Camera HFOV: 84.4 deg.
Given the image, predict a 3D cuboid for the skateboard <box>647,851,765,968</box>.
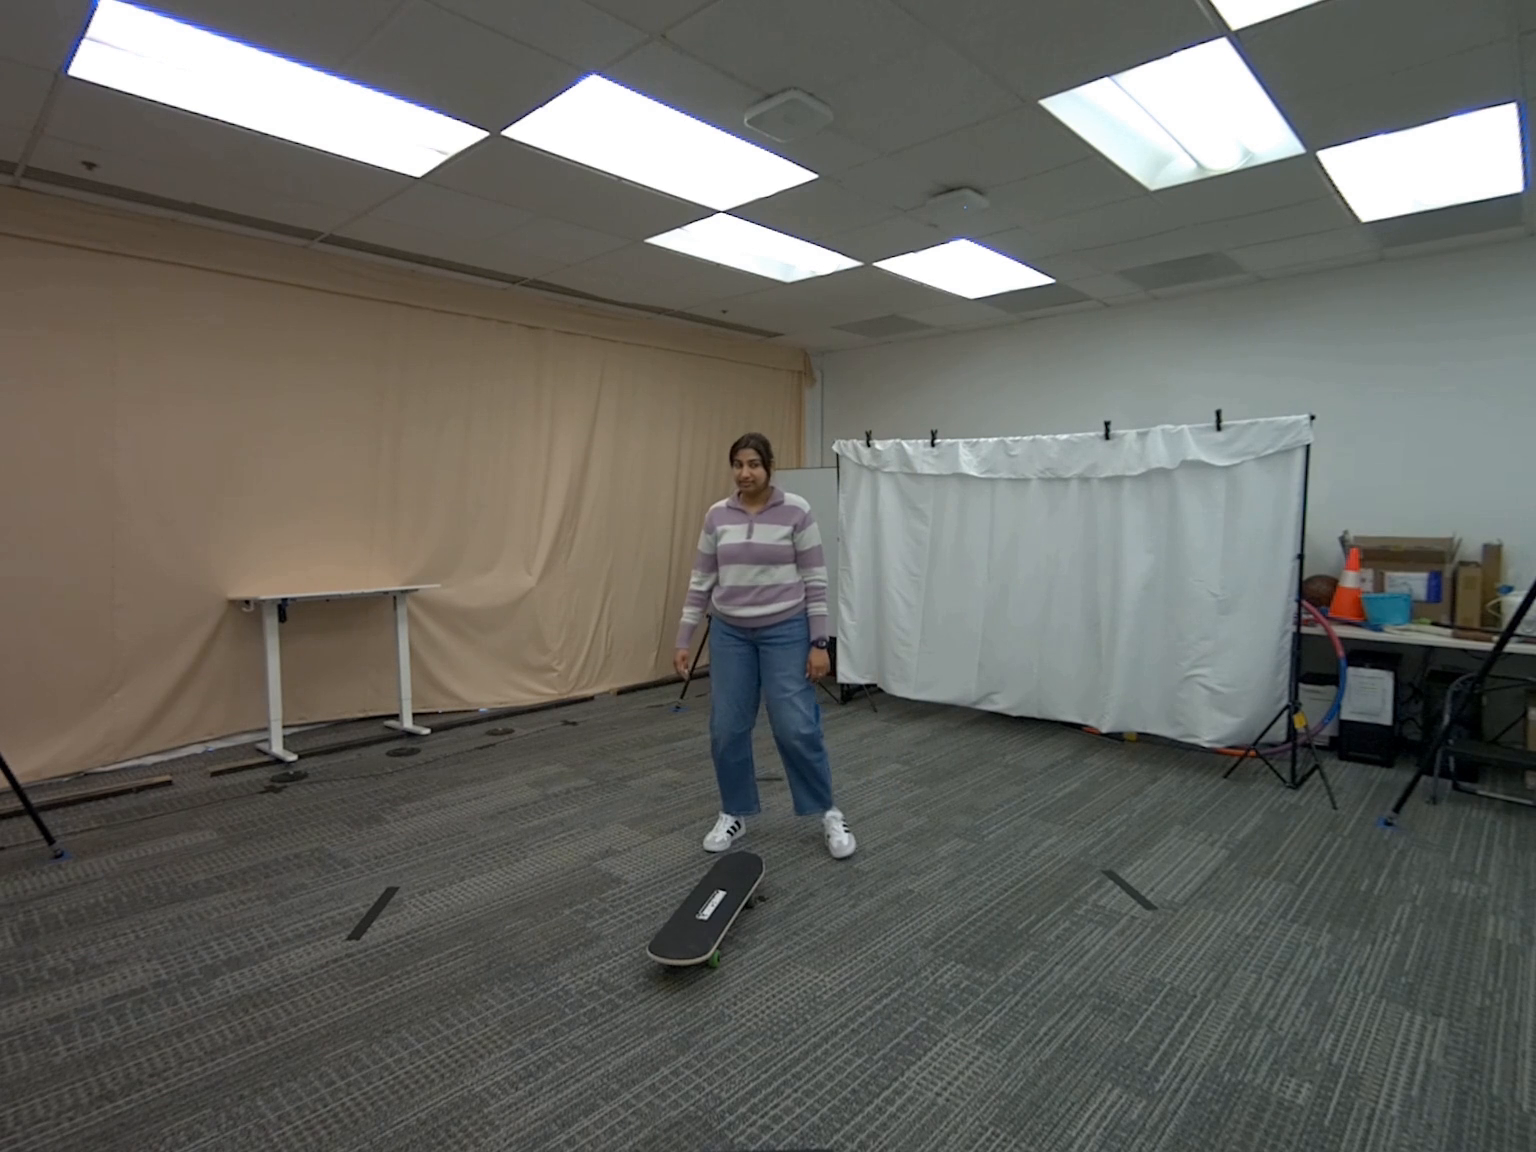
[{"bbox_3d":[-0.187,1.097,2.758,0.197,0.110,0.773,1,5,16],"label":"skateboard"}]
